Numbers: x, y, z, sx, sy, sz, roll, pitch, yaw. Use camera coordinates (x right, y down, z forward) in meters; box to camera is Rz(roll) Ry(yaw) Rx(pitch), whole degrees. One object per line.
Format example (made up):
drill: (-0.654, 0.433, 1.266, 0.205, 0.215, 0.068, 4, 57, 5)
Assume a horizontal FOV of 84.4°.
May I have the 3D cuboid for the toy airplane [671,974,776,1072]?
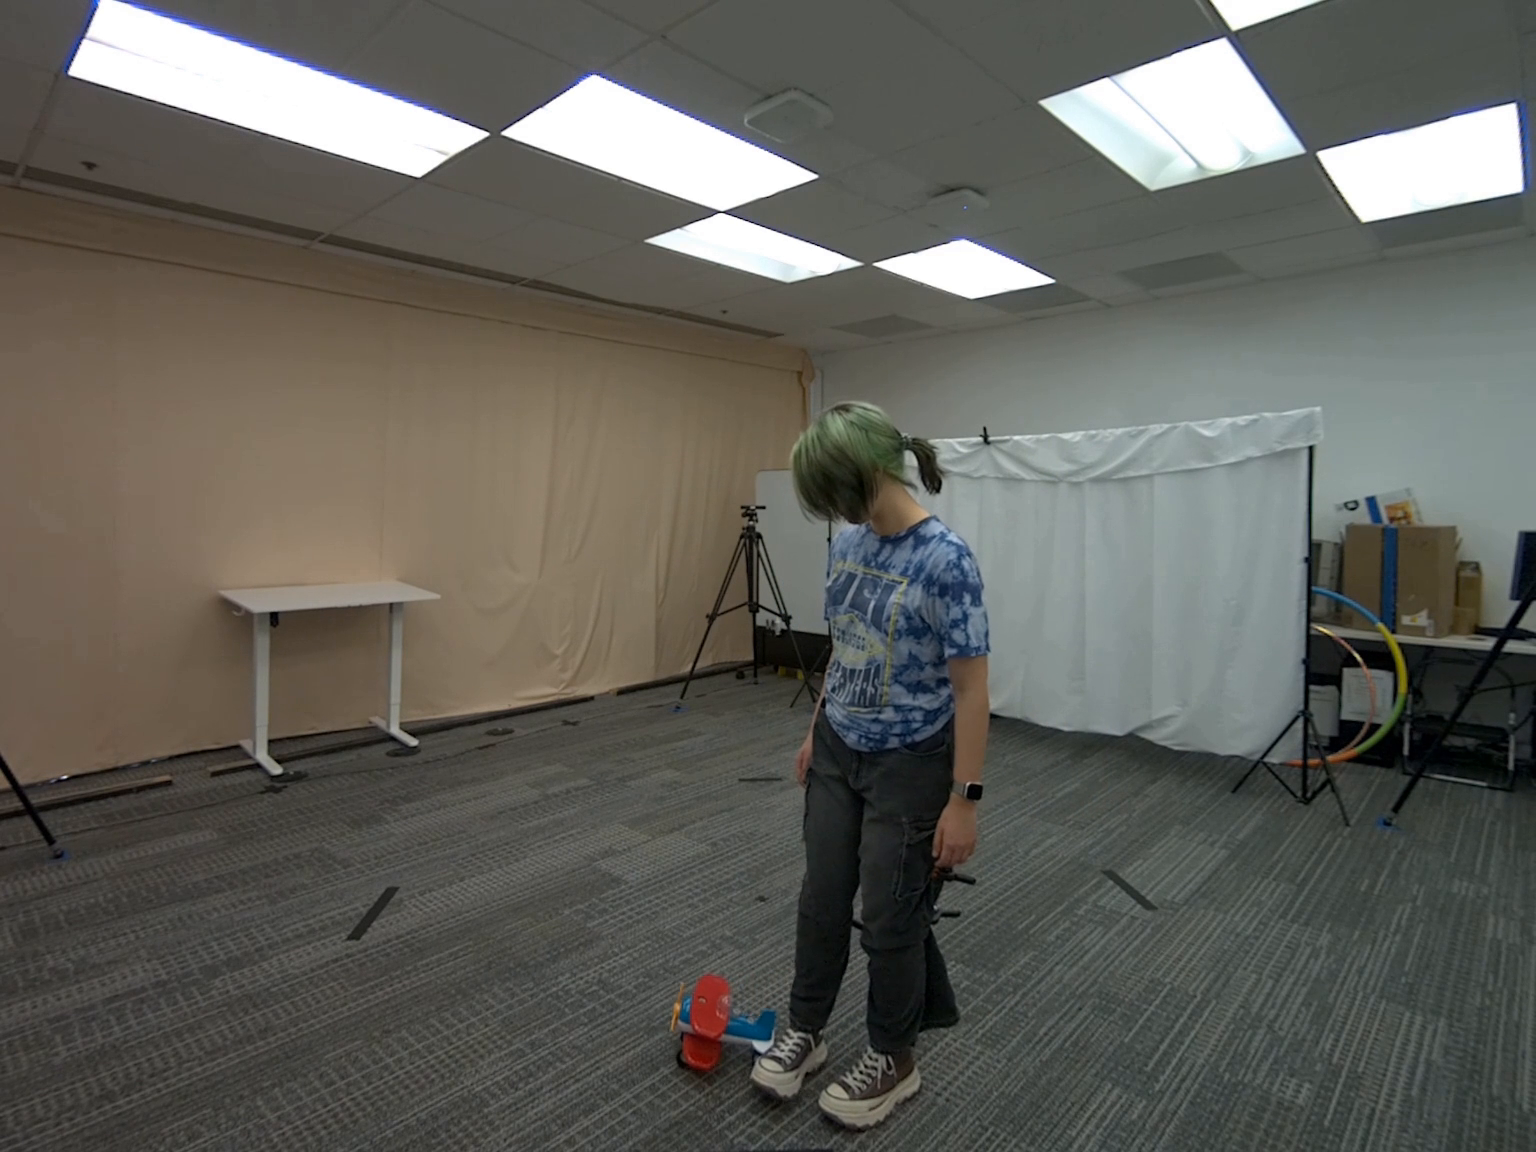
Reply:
toy airplane: (-0.111, 1.147, 2.133, 0.253, 0.156, 0.257, -5, 4, -24)
